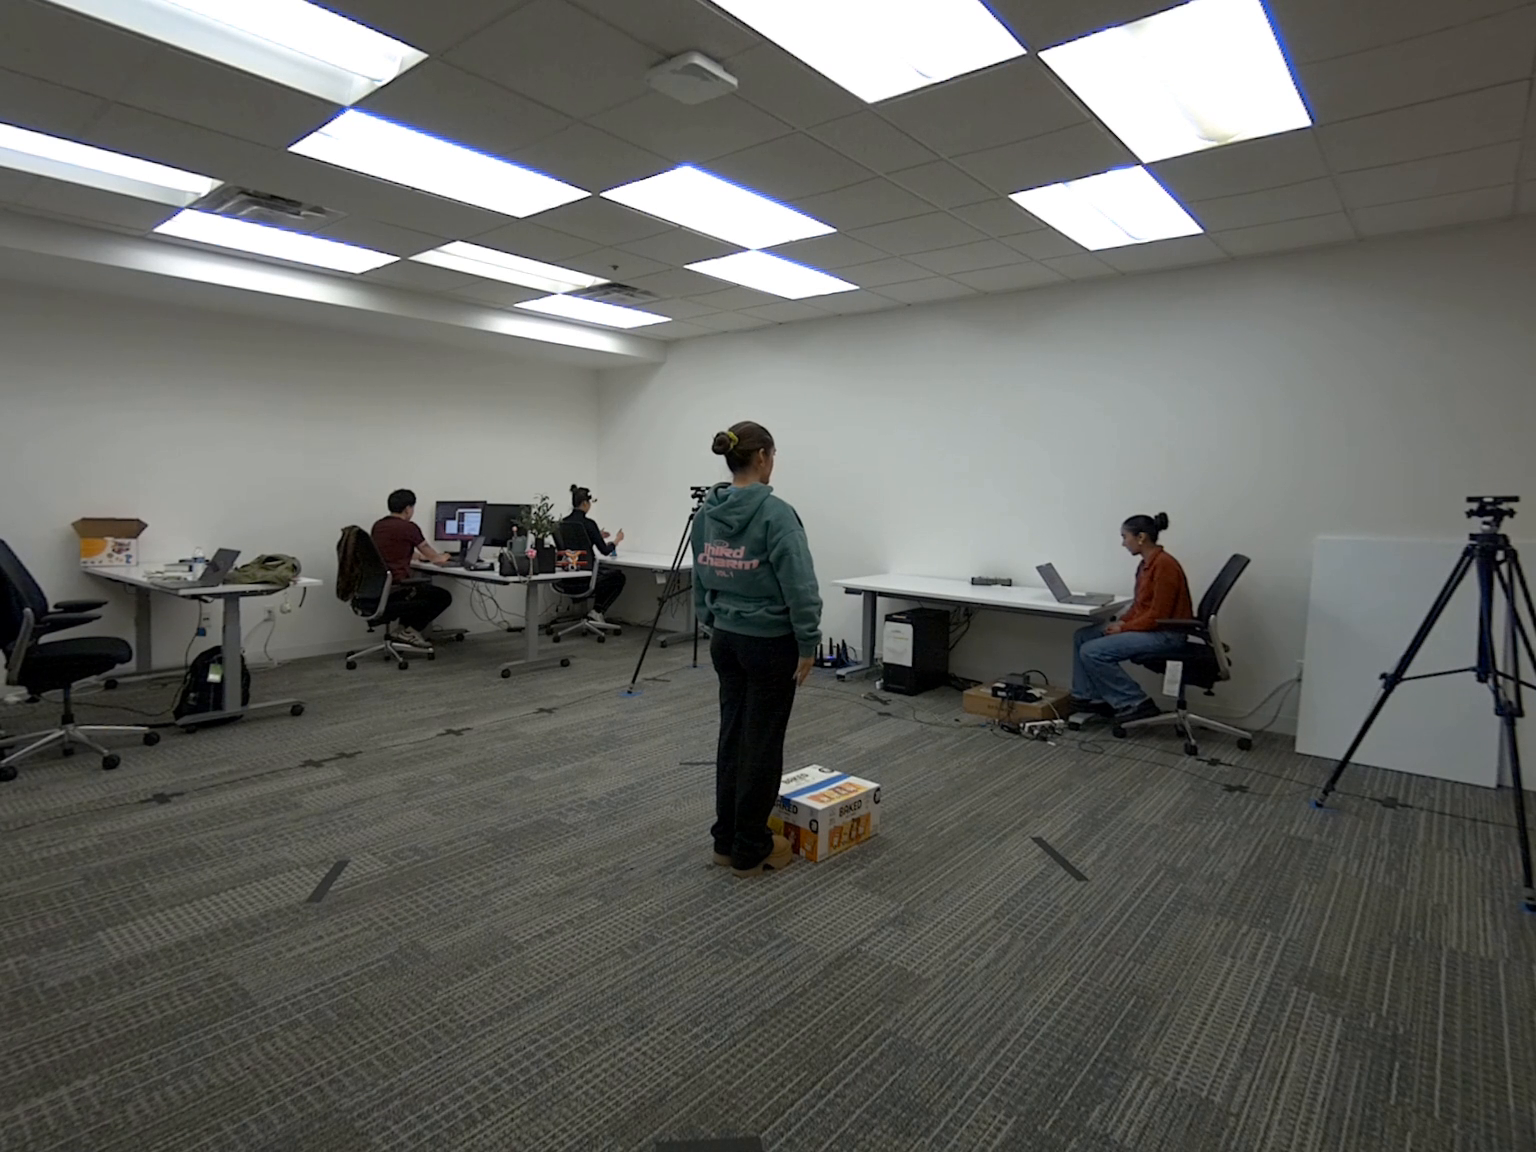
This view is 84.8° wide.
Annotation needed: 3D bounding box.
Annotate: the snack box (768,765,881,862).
[{"bbox_3d":[0.190,0.940,3.427,0.352,0.205,0.393,6,7,43],"label":"snack box"}]
